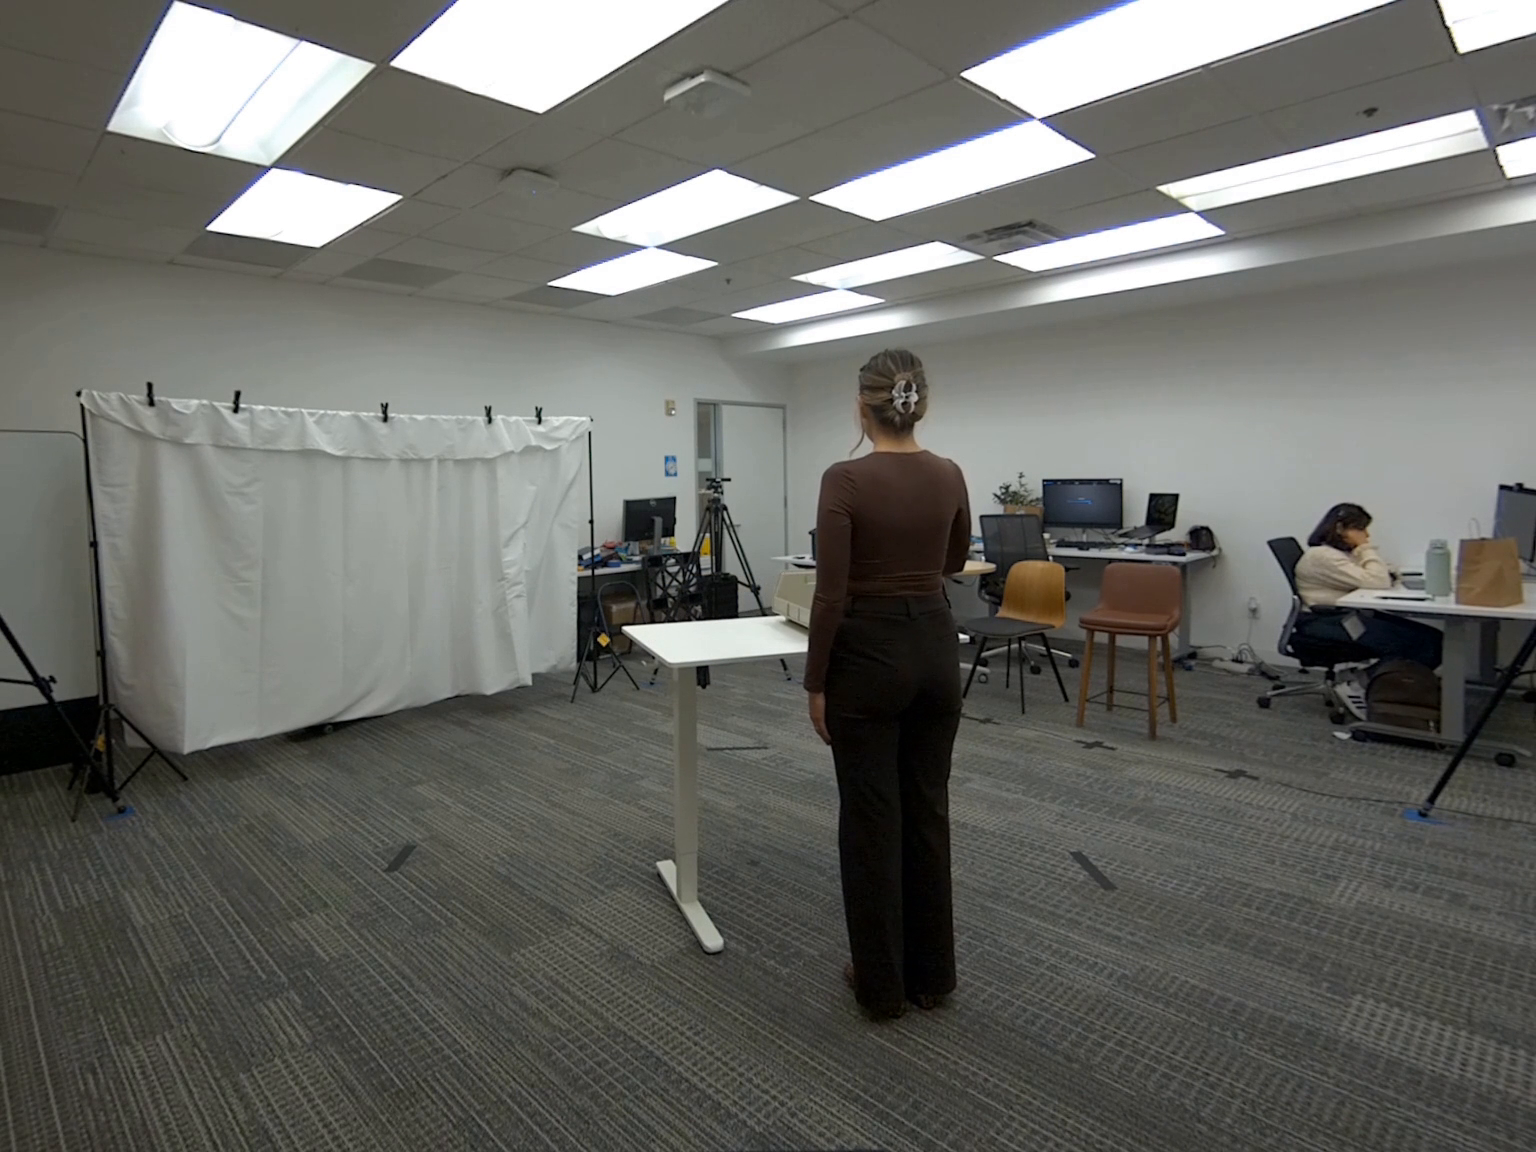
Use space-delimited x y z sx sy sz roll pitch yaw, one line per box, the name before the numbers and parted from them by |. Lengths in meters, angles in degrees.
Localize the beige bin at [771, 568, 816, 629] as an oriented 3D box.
beige bin | 0.263 0.088 2.906 0.371 0.188 0.431 -1 6 -19
